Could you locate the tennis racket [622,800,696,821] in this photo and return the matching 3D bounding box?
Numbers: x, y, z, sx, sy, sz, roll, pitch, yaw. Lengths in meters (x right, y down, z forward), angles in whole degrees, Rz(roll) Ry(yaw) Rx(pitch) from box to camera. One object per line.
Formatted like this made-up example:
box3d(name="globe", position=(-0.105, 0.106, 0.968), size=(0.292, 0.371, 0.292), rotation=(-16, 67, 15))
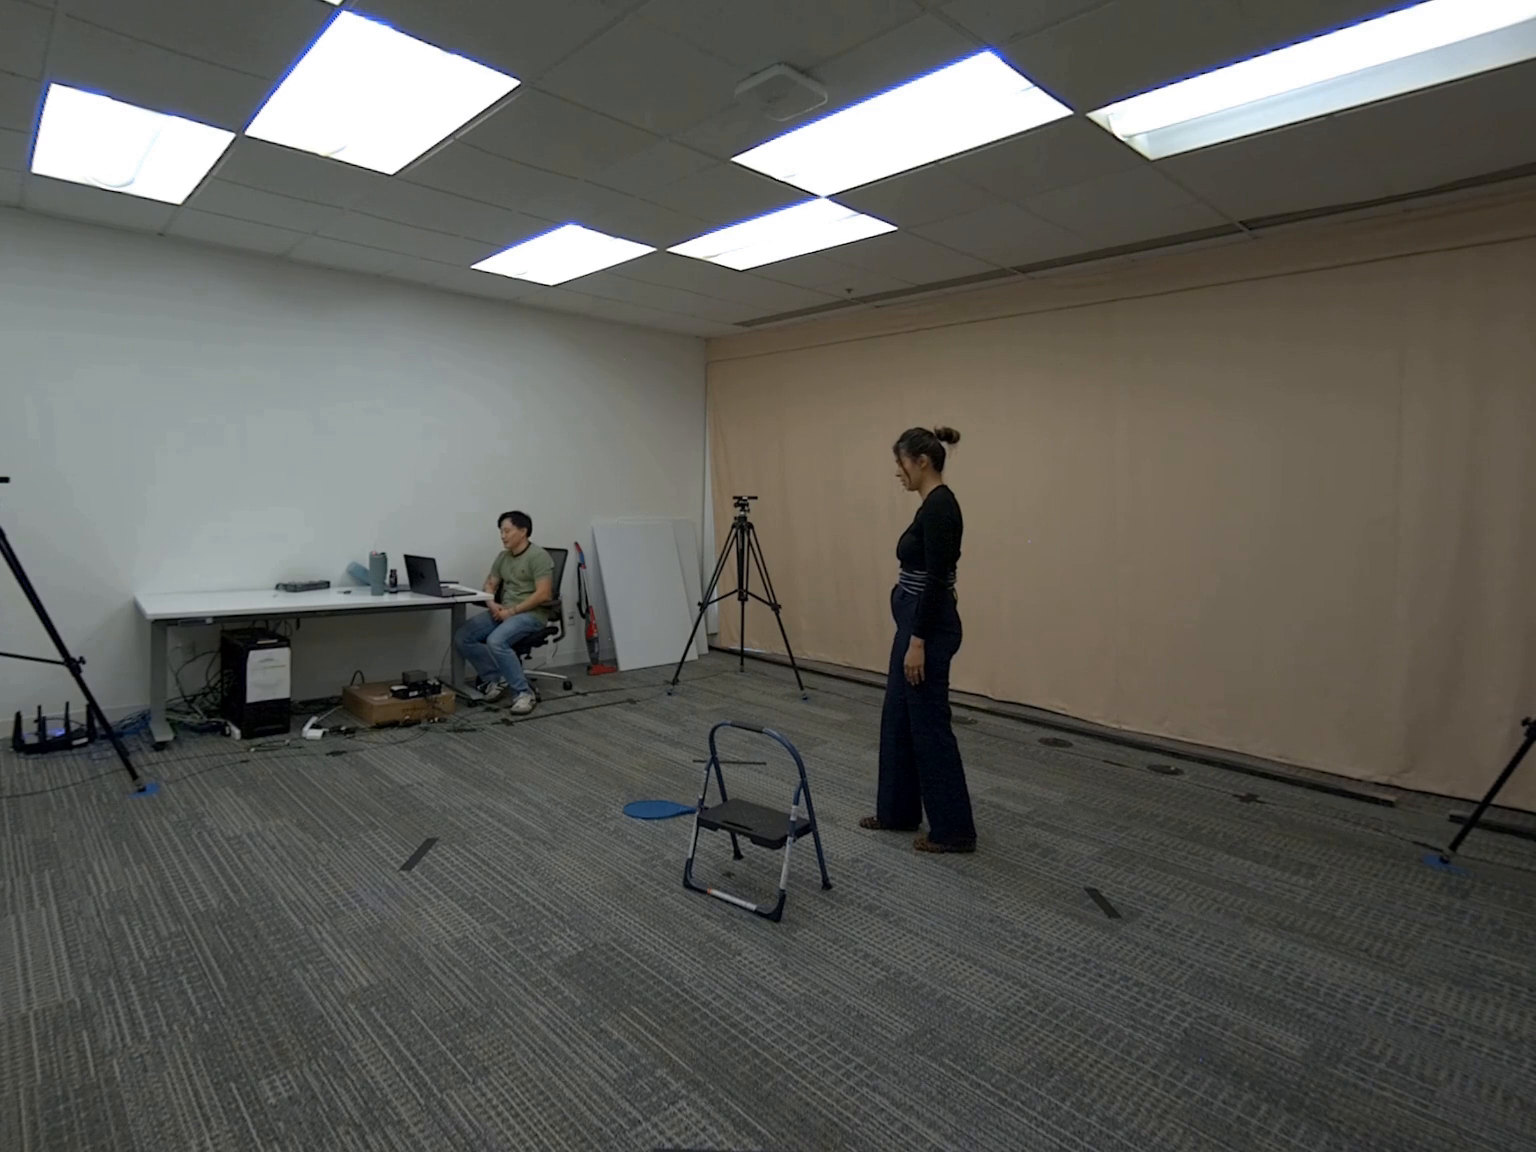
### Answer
box3d(name="tennis racket", position=(-0.432, 1.022, 3.709), size=(0.435, 0.031, 0.213), rotation=(0, 5, 6))
